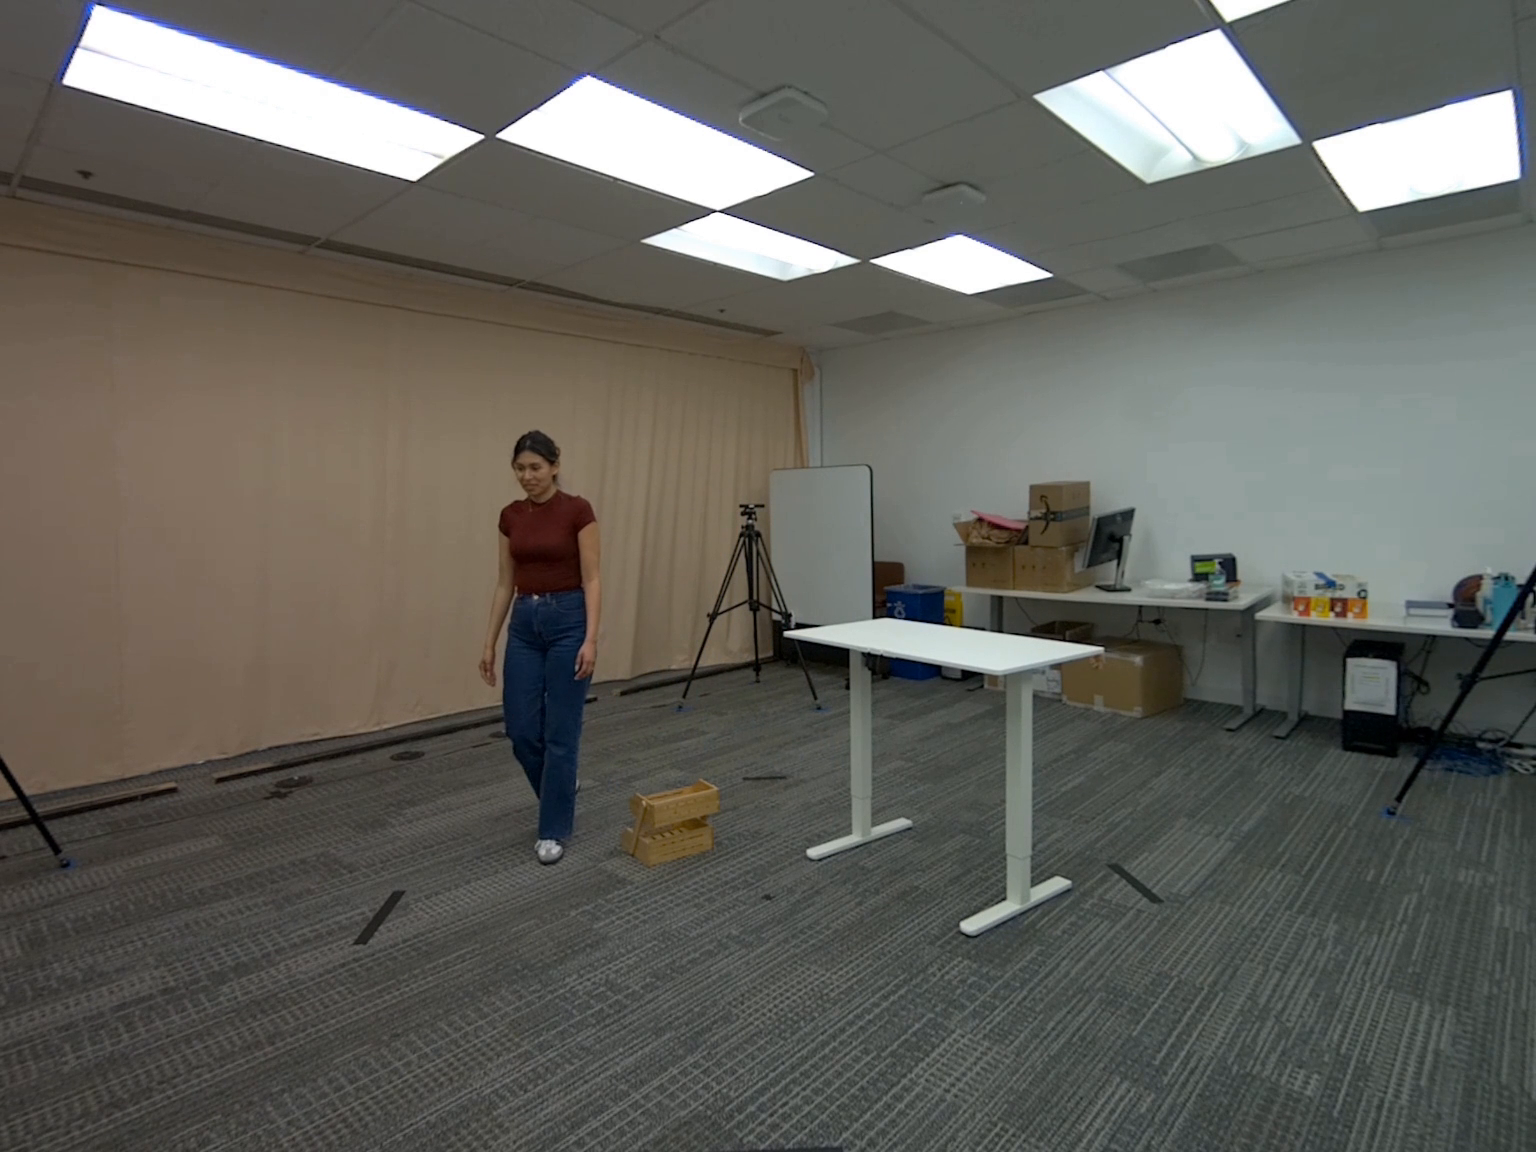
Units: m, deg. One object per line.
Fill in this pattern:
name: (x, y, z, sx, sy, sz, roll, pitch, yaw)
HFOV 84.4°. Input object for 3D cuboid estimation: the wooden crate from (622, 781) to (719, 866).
wooden crate: (-0.403, 0.979, 3.417, 0.315, 0.273, 0.311, -4, 5, -33)
